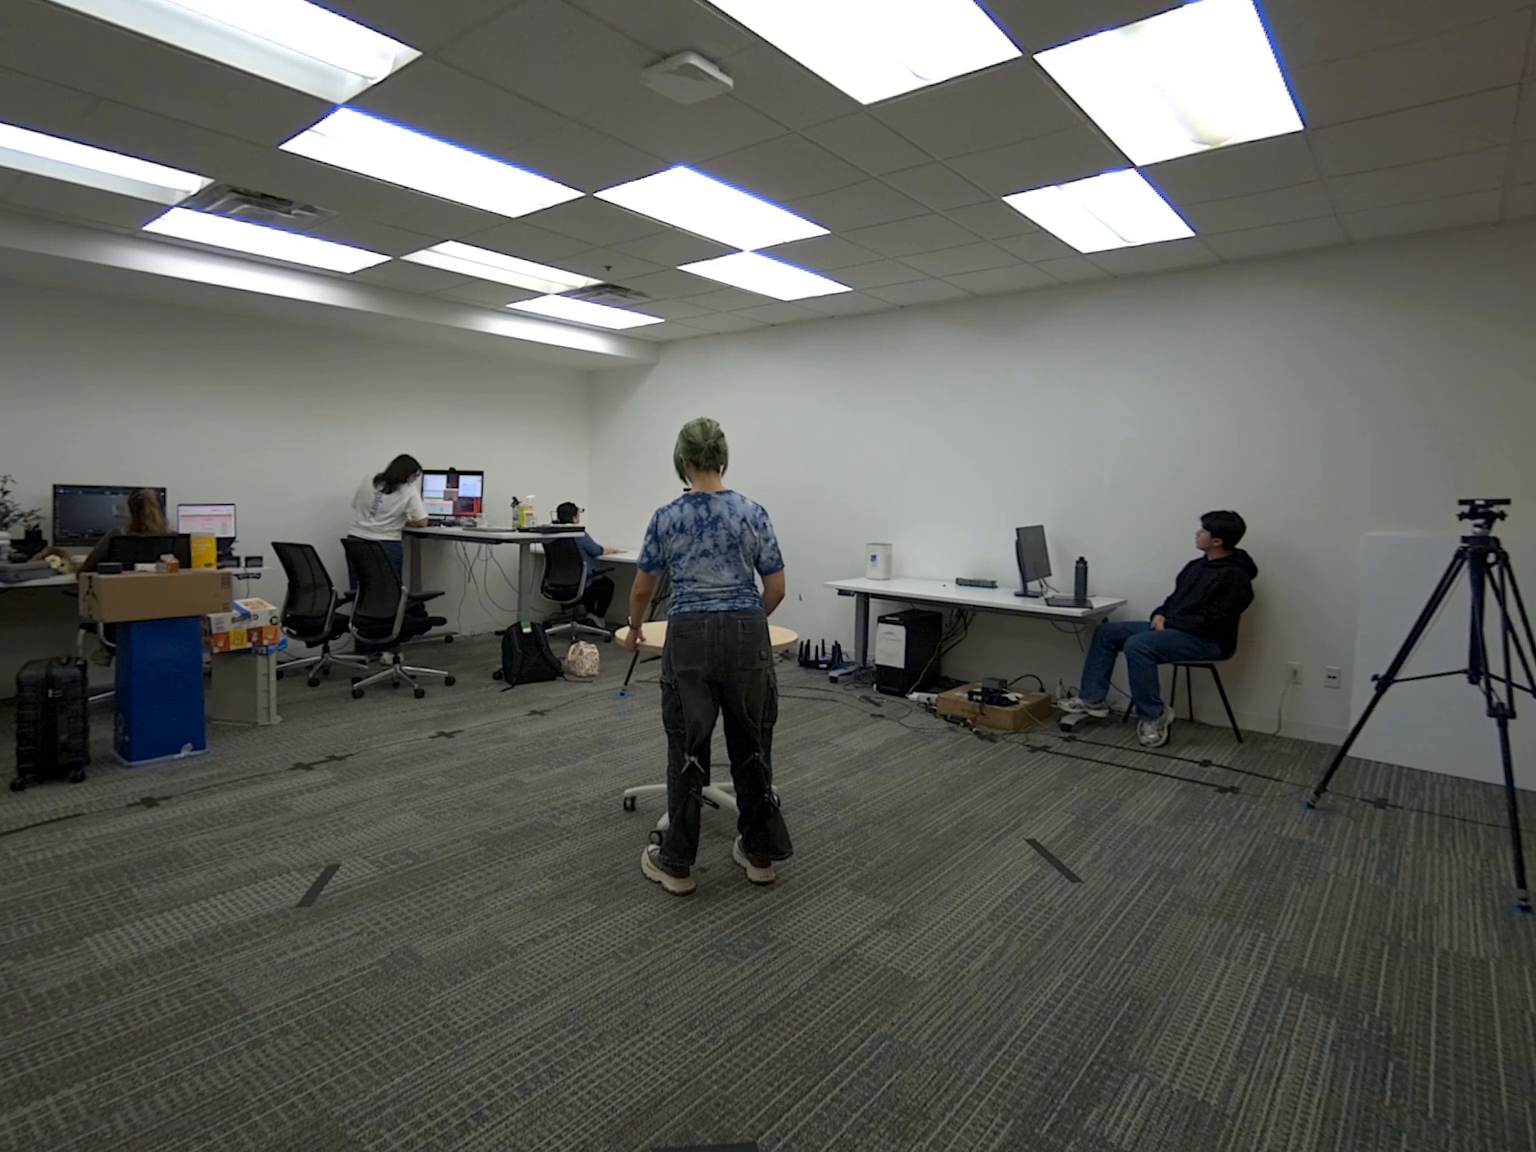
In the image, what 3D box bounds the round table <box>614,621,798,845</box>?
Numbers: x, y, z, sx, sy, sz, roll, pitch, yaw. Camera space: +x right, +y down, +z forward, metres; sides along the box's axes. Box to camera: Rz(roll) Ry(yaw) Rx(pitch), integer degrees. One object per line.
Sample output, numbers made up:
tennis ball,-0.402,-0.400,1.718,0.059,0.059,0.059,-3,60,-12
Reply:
round table,-0.284,0.629,3.587,0.763,0.792,0.767,1,4,-2
